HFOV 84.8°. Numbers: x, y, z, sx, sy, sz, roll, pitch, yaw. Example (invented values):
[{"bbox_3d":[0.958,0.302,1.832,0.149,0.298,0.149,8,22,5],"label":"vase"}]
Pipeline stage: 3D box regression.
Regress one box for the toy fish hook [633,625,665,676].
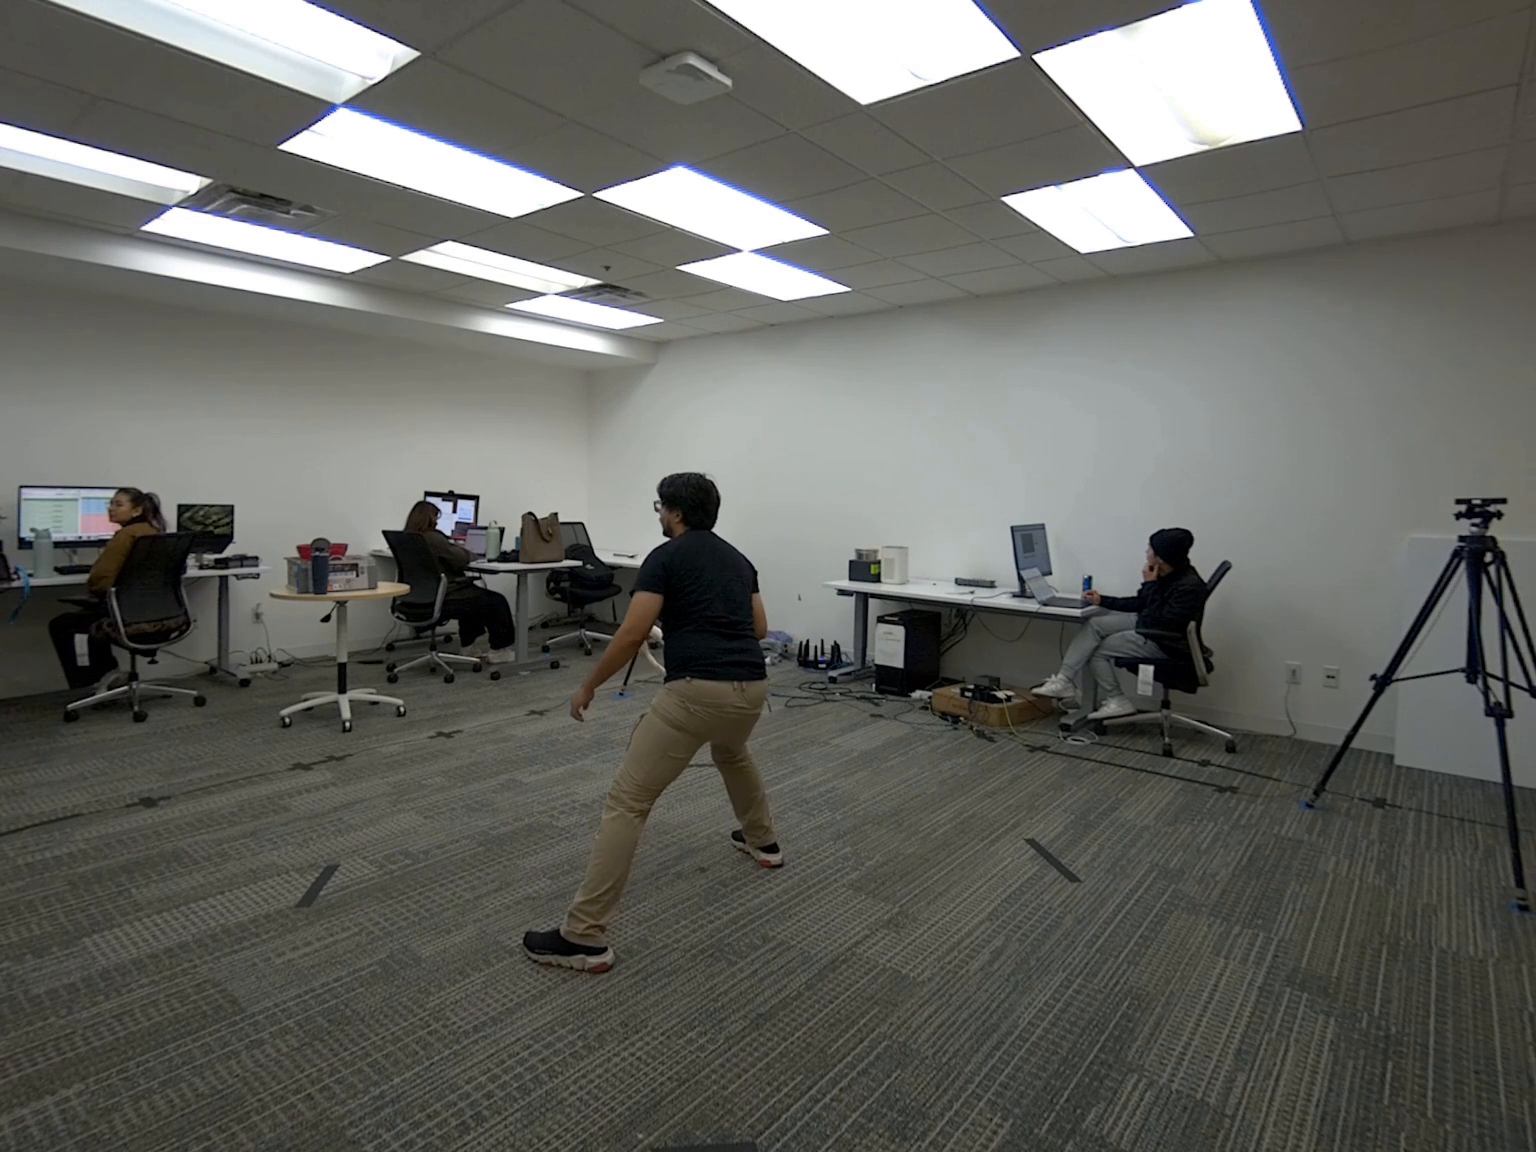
[{"bbox_3d":[-0.378,0.330,3.387,0.048,0.218,0.527,-30,37,-33],"label":"toy fish hook"}]
